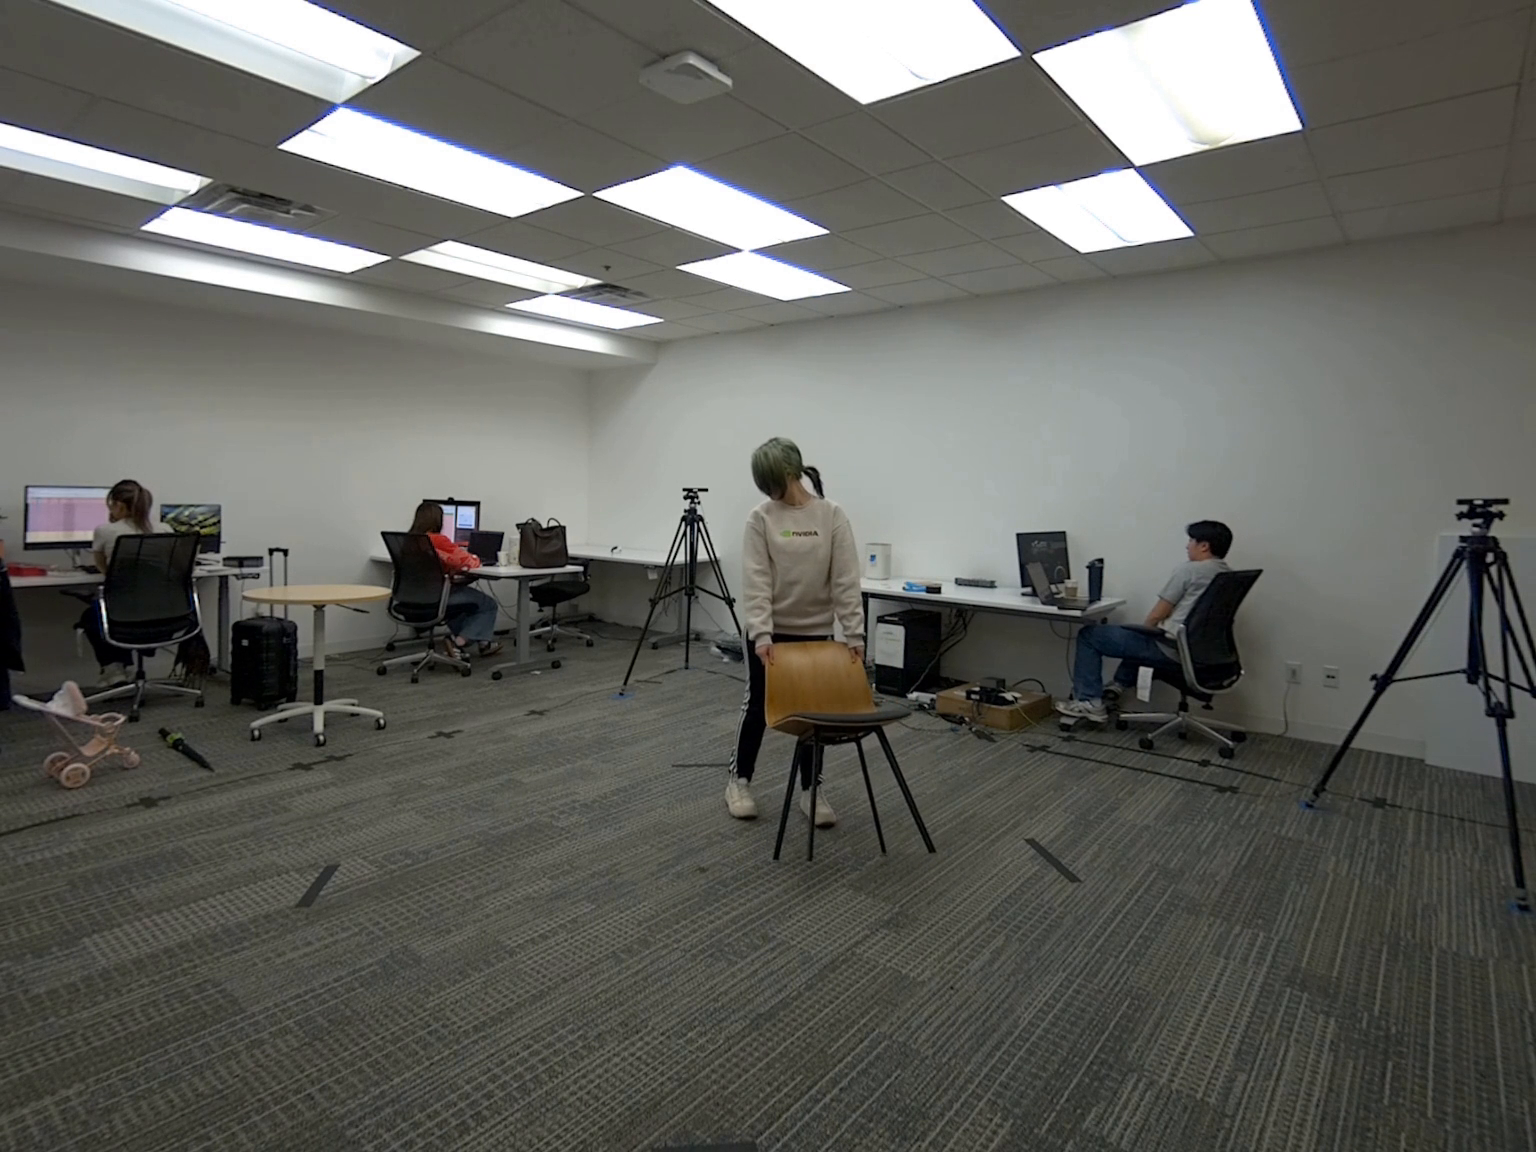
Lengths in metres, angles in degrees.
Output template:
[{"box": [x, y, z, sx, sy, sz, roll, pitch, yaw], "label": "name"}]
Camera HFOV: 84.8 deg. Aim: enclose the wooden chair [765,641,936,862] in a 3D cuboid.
[{"box": [0.250, 0.588, 3.160, 0.471, 0.898, 0.519, 1, -24, -14], "label": "wooden chair"}]
